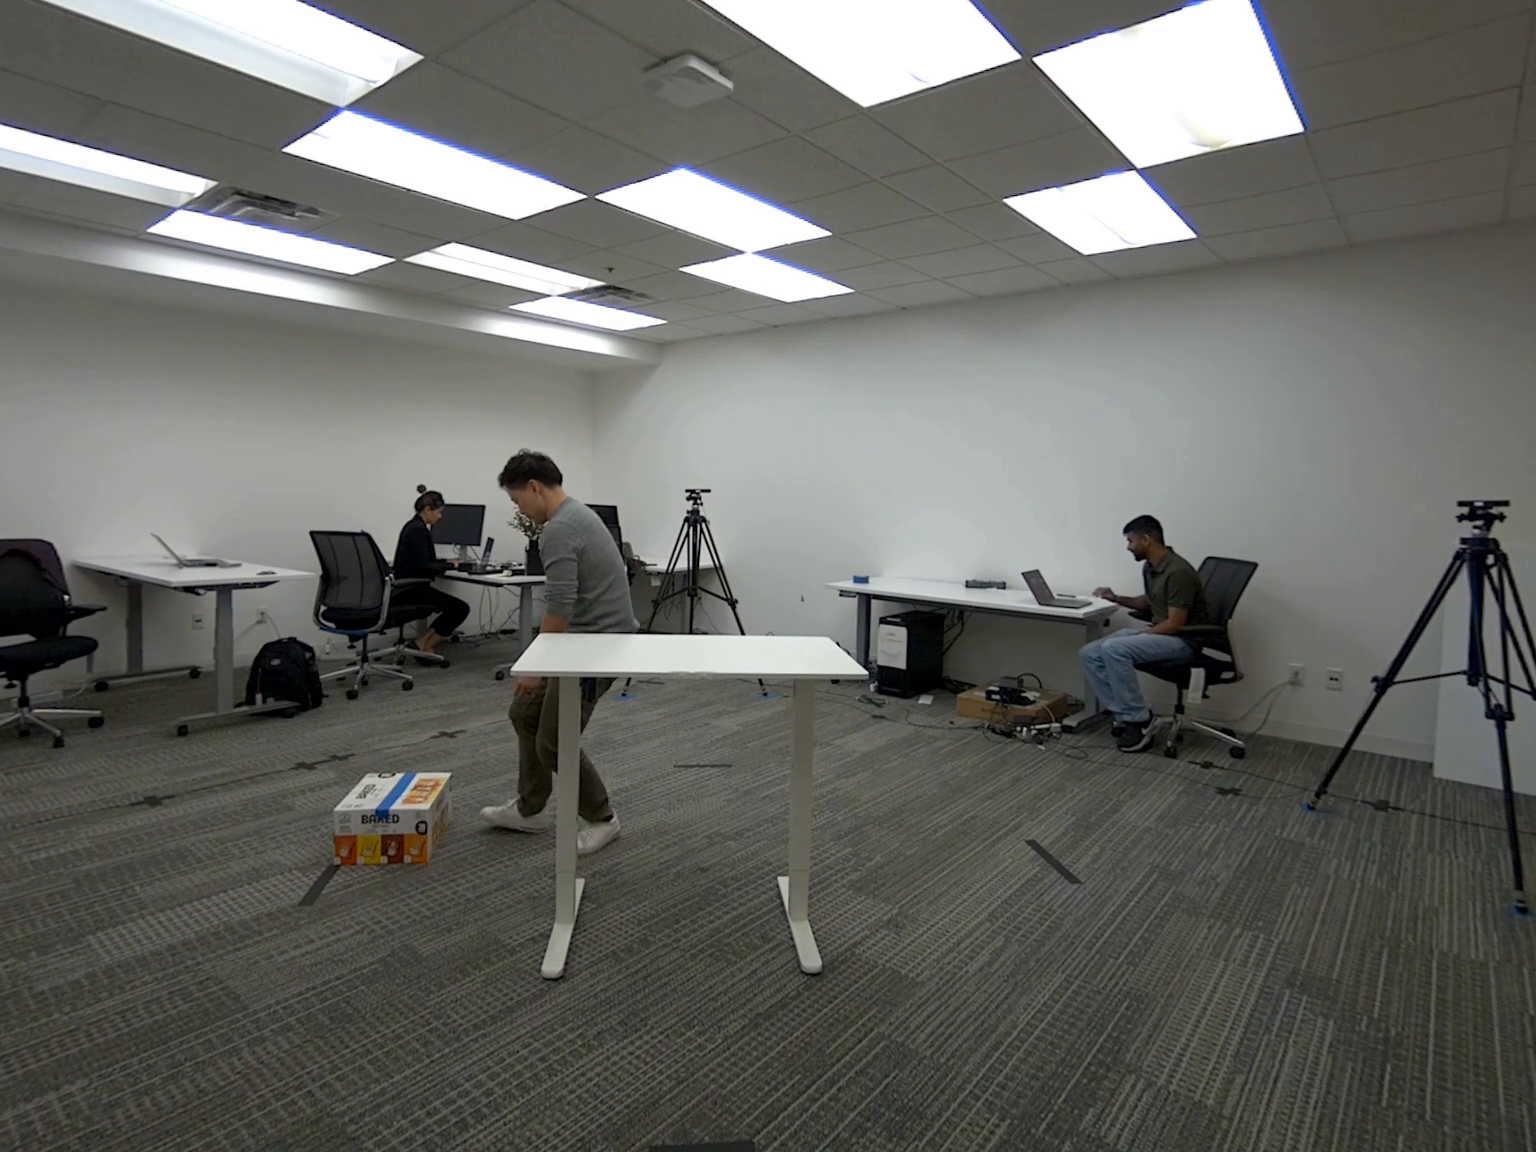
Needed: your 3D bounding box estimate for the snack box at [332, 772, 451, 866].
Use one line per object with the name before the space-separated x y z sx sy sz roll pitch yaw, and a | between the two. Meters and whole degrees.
snack box | -1.465 0.935 3.313 0.338 0.205 0.410 0 6 -8
